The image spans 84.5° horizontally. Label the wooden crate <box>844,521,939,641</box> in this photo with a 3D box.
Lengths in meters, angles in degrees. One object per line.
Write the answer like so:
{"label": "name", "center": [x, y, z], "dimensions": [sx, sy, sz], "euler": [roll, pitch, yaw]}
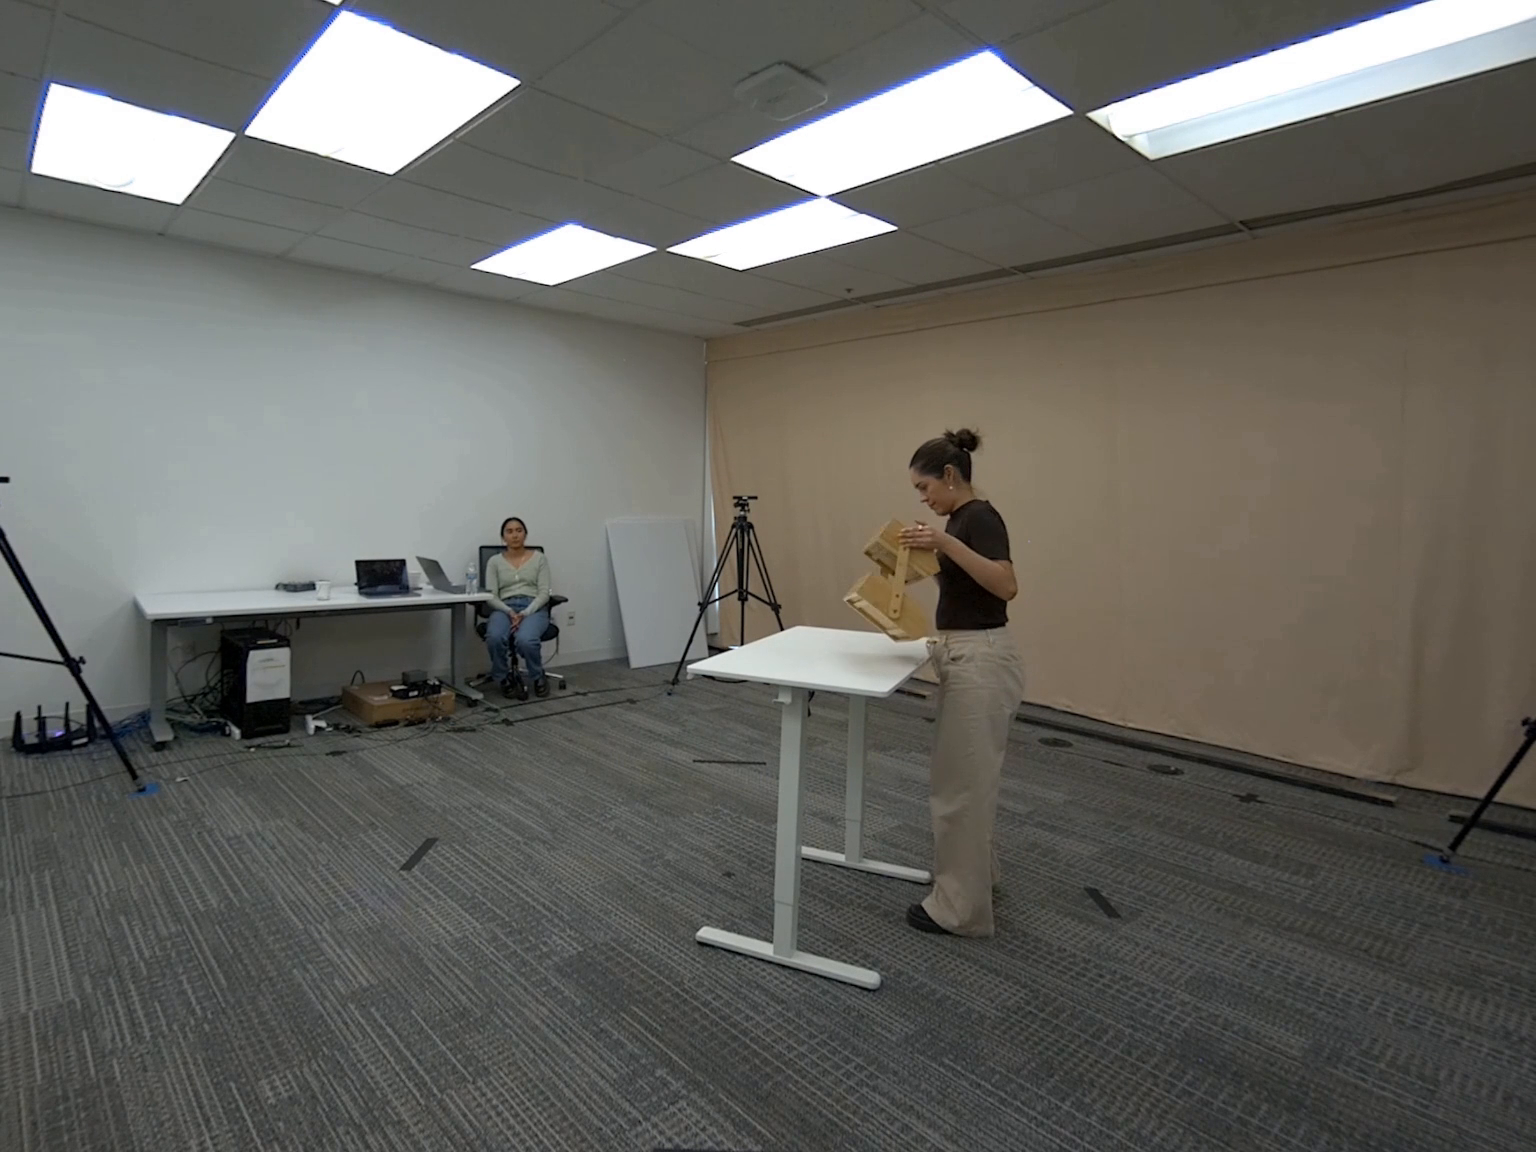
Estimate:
{"label": "wooden crate", "center": [0.425, 0.031, 2.695], "dimensions": [0.303, 0.273, 0.323], "euler": [39, -6, 3]}
